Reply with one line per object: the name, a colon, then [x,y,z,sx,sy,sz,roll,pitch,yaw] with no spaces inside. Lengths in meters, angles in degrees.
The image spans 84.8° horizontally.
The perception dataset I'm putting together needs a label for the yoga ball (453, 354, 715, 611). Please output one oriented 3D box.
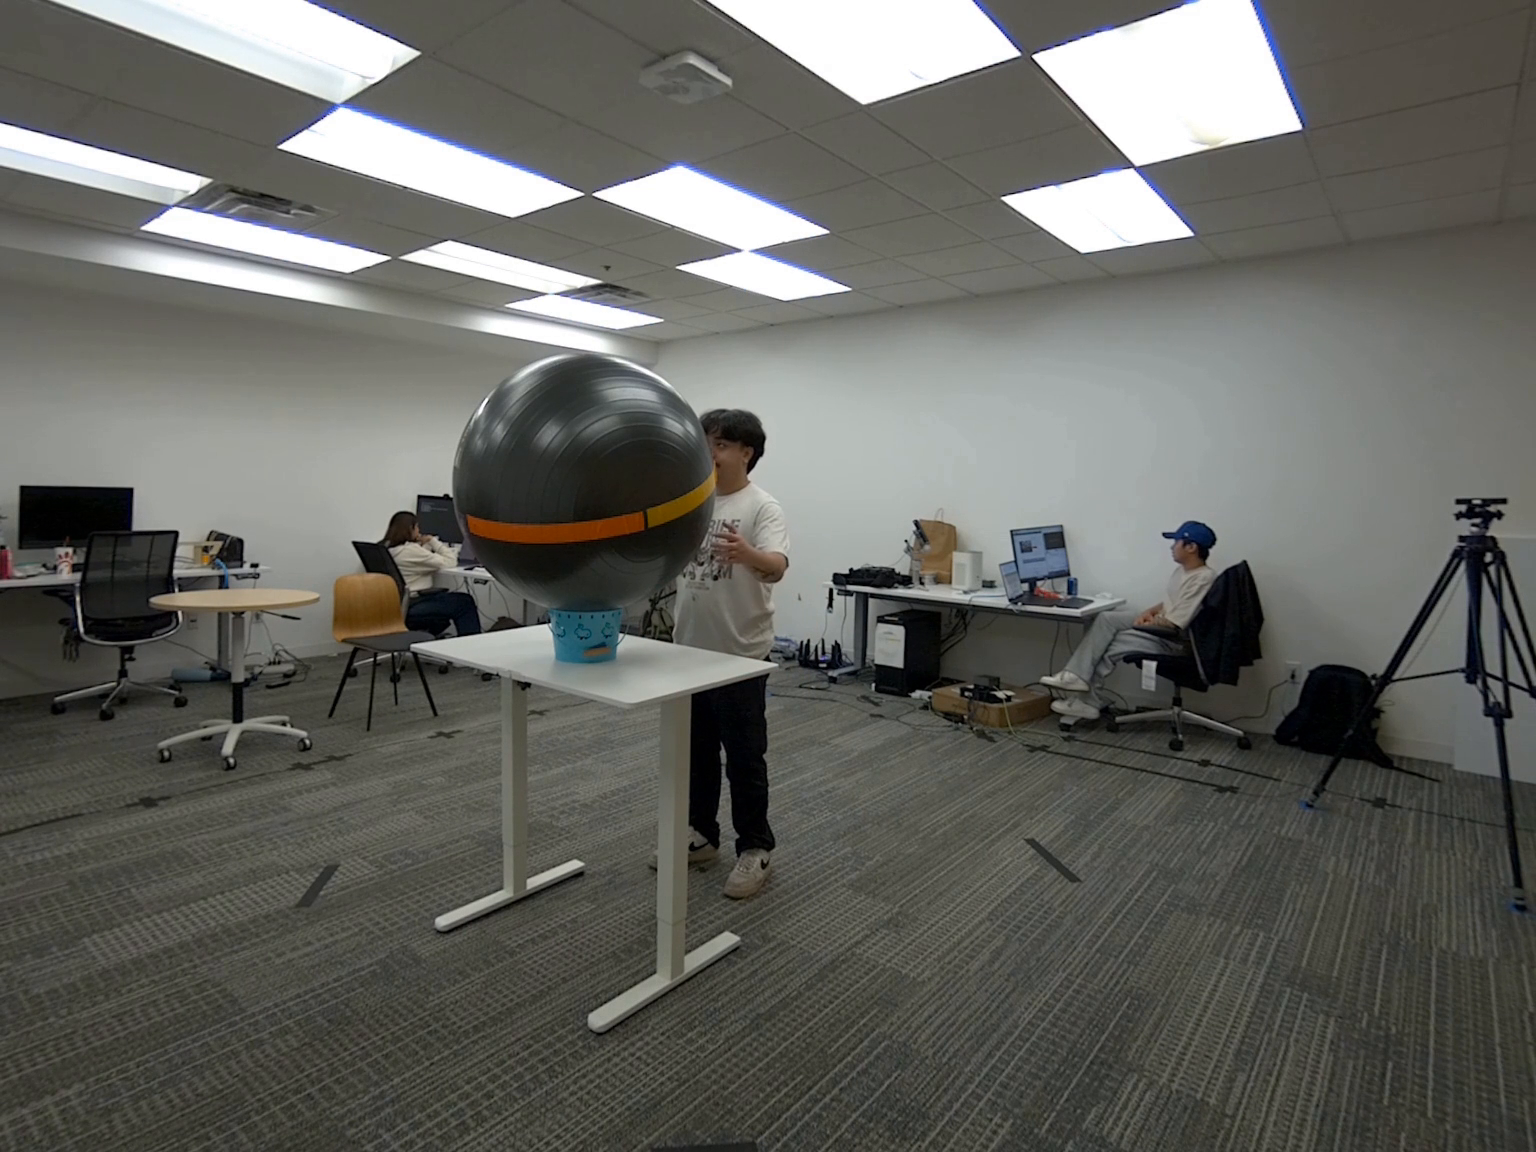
yoga ball: [-0.541,-0.260,2.498,0.757,0.755,0.762,1,4,-2]
